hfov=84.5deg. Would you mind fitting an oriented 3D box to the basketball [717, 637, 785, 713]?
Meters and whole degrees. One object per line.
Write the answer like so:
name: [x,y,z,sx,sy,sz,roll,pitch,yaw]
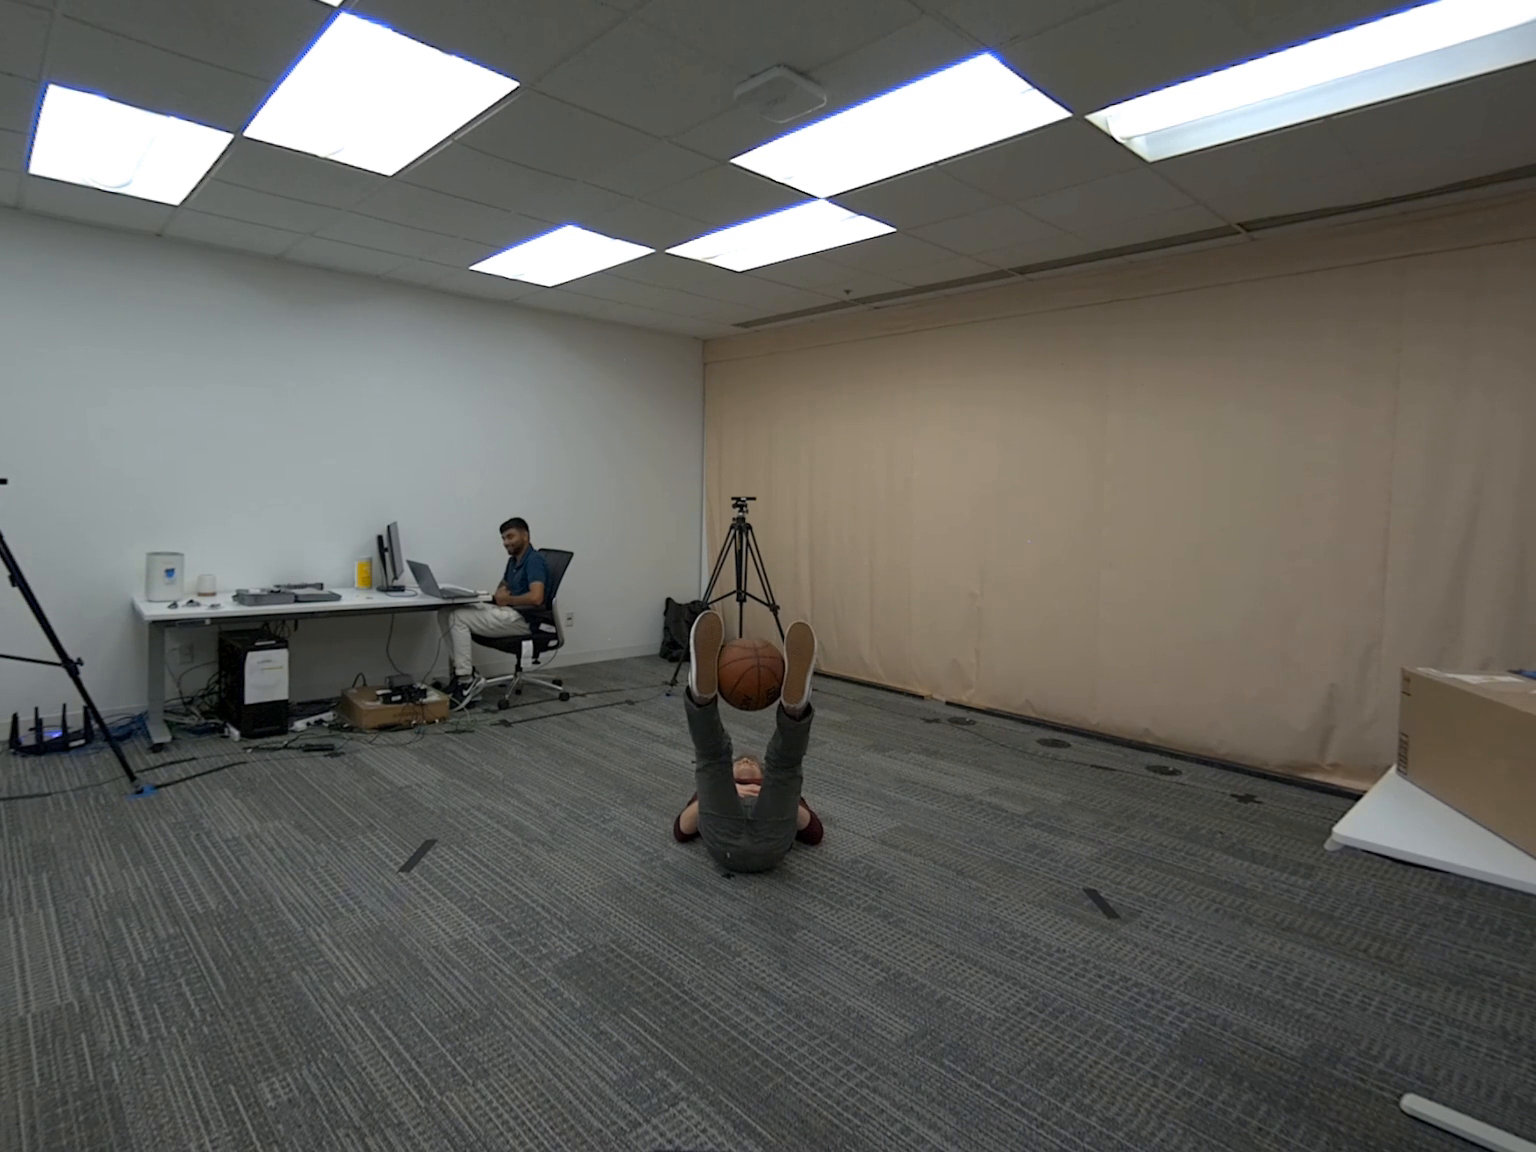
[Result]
basketball: [-0.065,0.318,2.727,0.236,0.234,0.237,0,7,-1]
